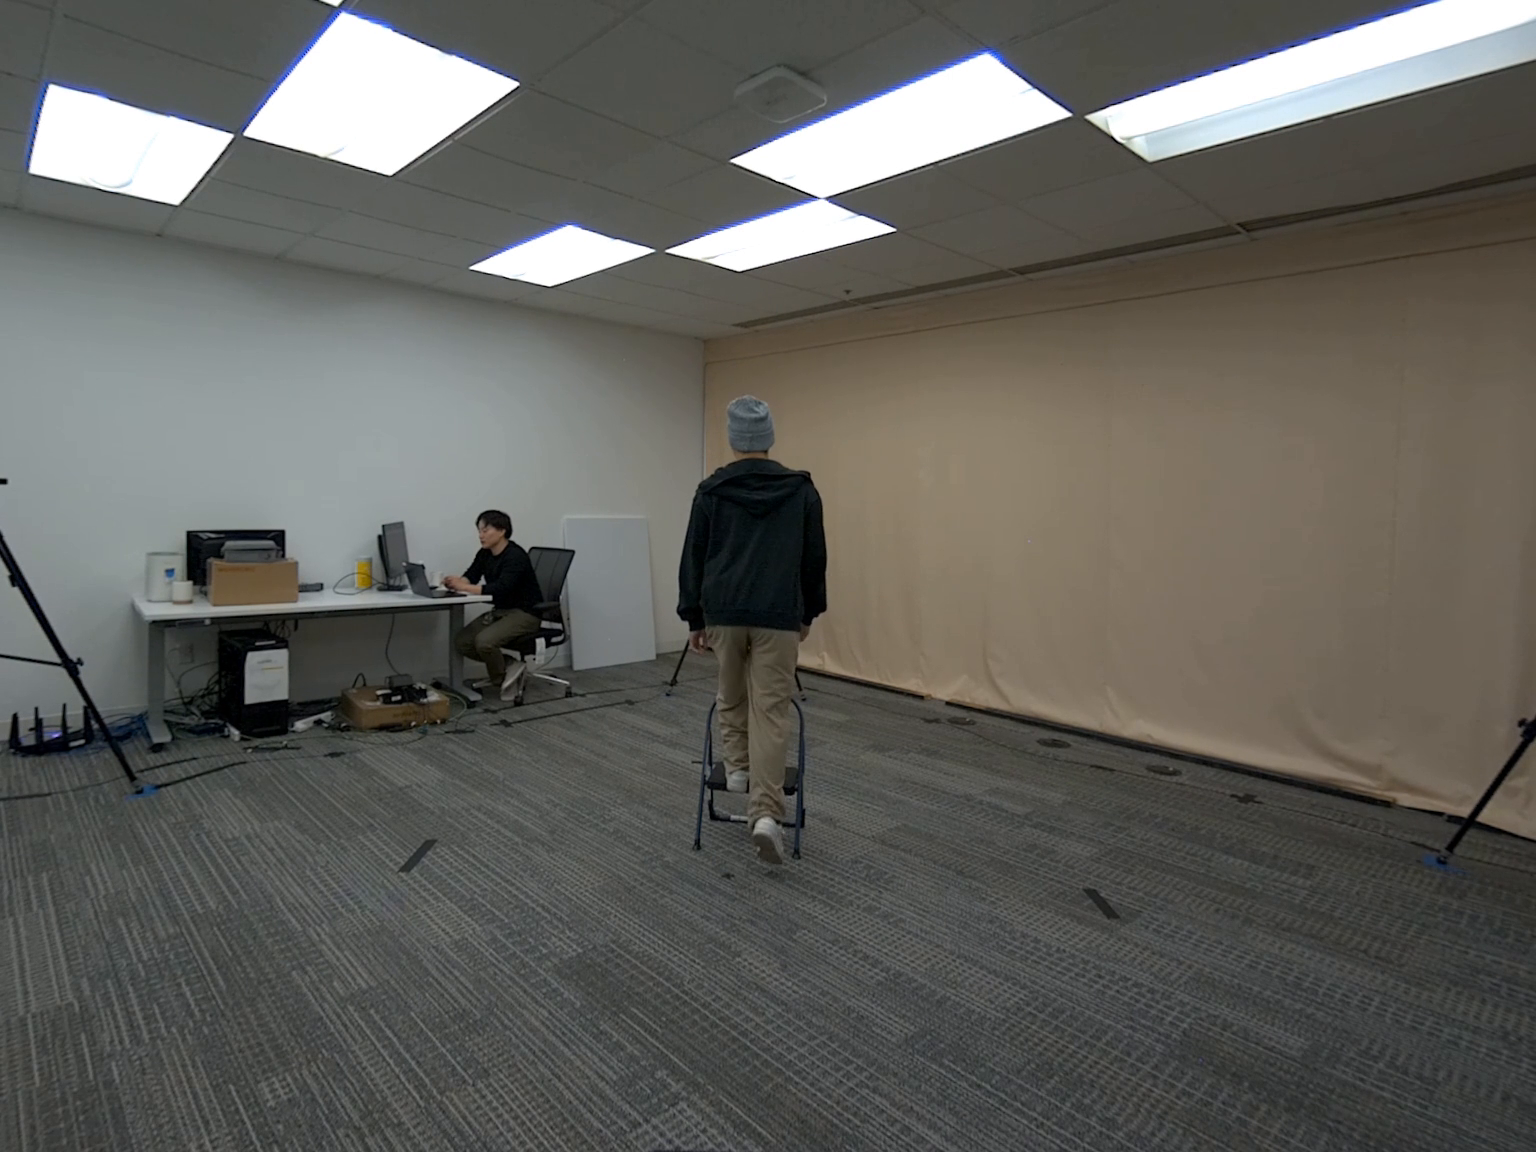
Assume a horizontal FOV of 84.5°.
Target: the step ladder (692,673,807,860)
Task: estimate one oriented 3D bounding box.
[{"bbox_3d":[-0.066,0.782,3.455,0.433,0.604,0.348,2,4,7],"label":"step ladder"}]
